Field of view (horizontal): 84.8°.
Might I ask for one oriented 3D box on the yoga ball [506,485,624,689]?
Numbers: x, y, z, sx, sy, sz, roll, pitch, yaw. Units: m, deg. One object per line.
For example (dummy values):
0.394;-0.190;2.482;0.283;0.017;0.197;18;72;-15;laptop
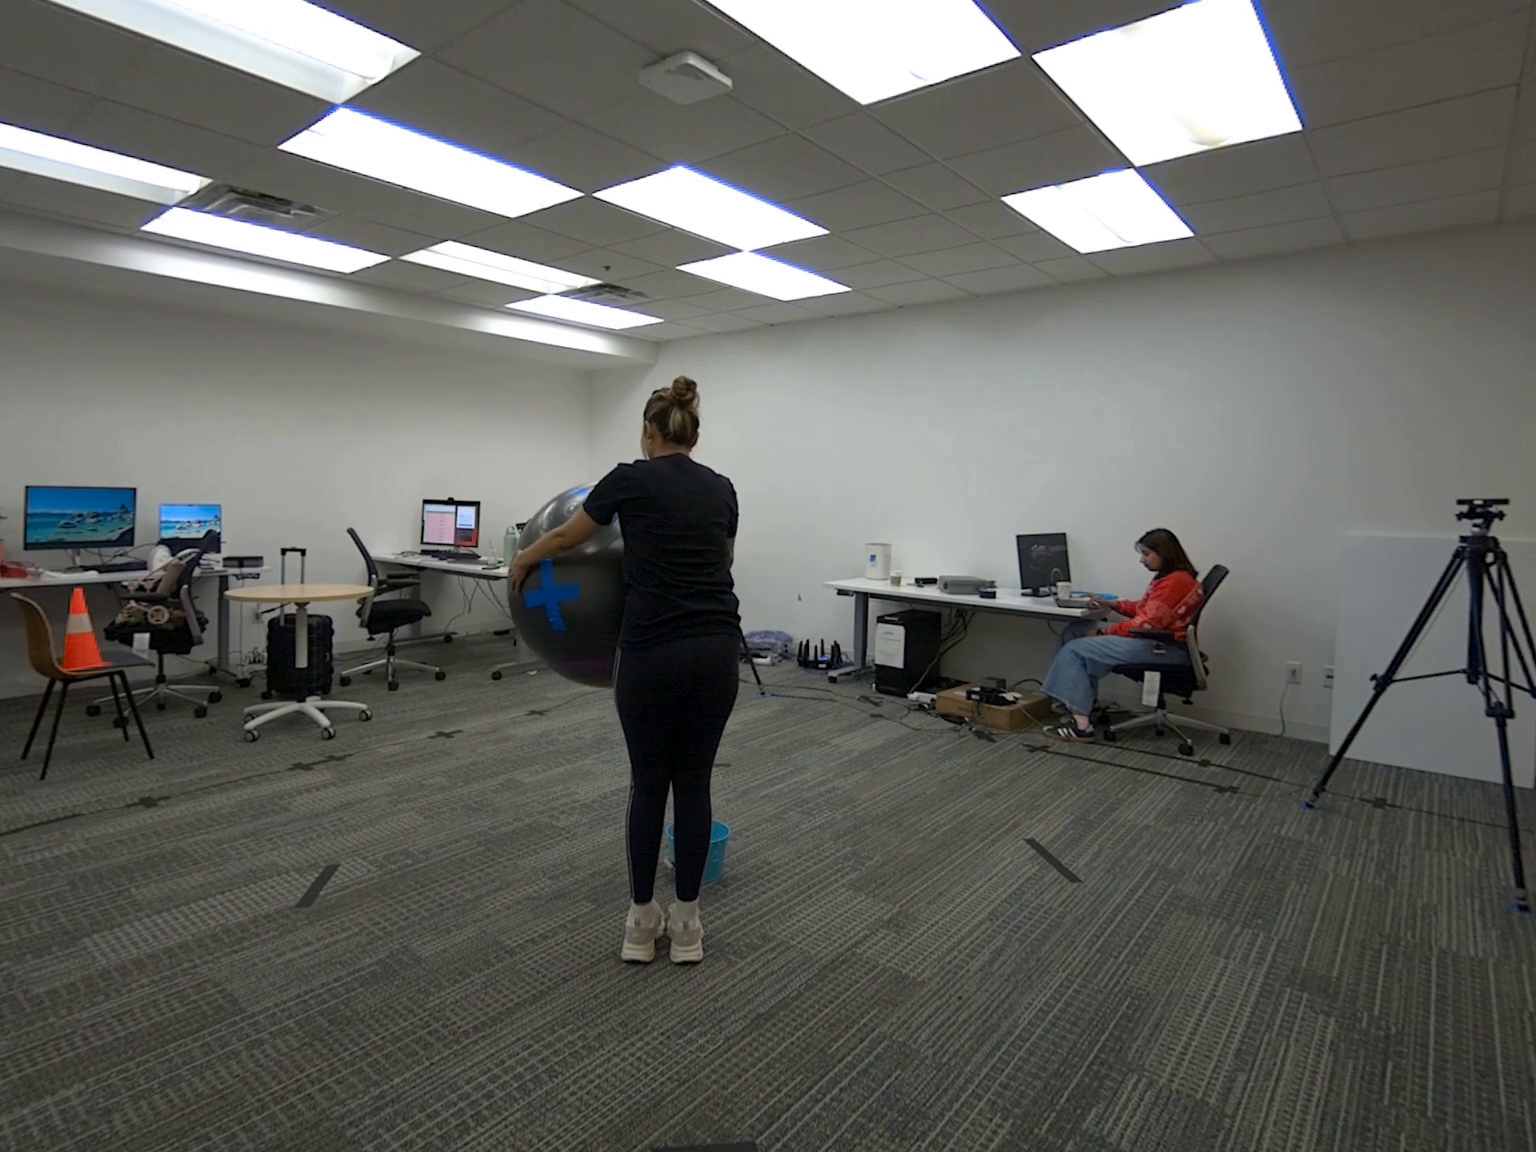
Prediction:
-0.578;0.031;3.123;0.757;0.756;0.762;1;4;-2;yoga ball
